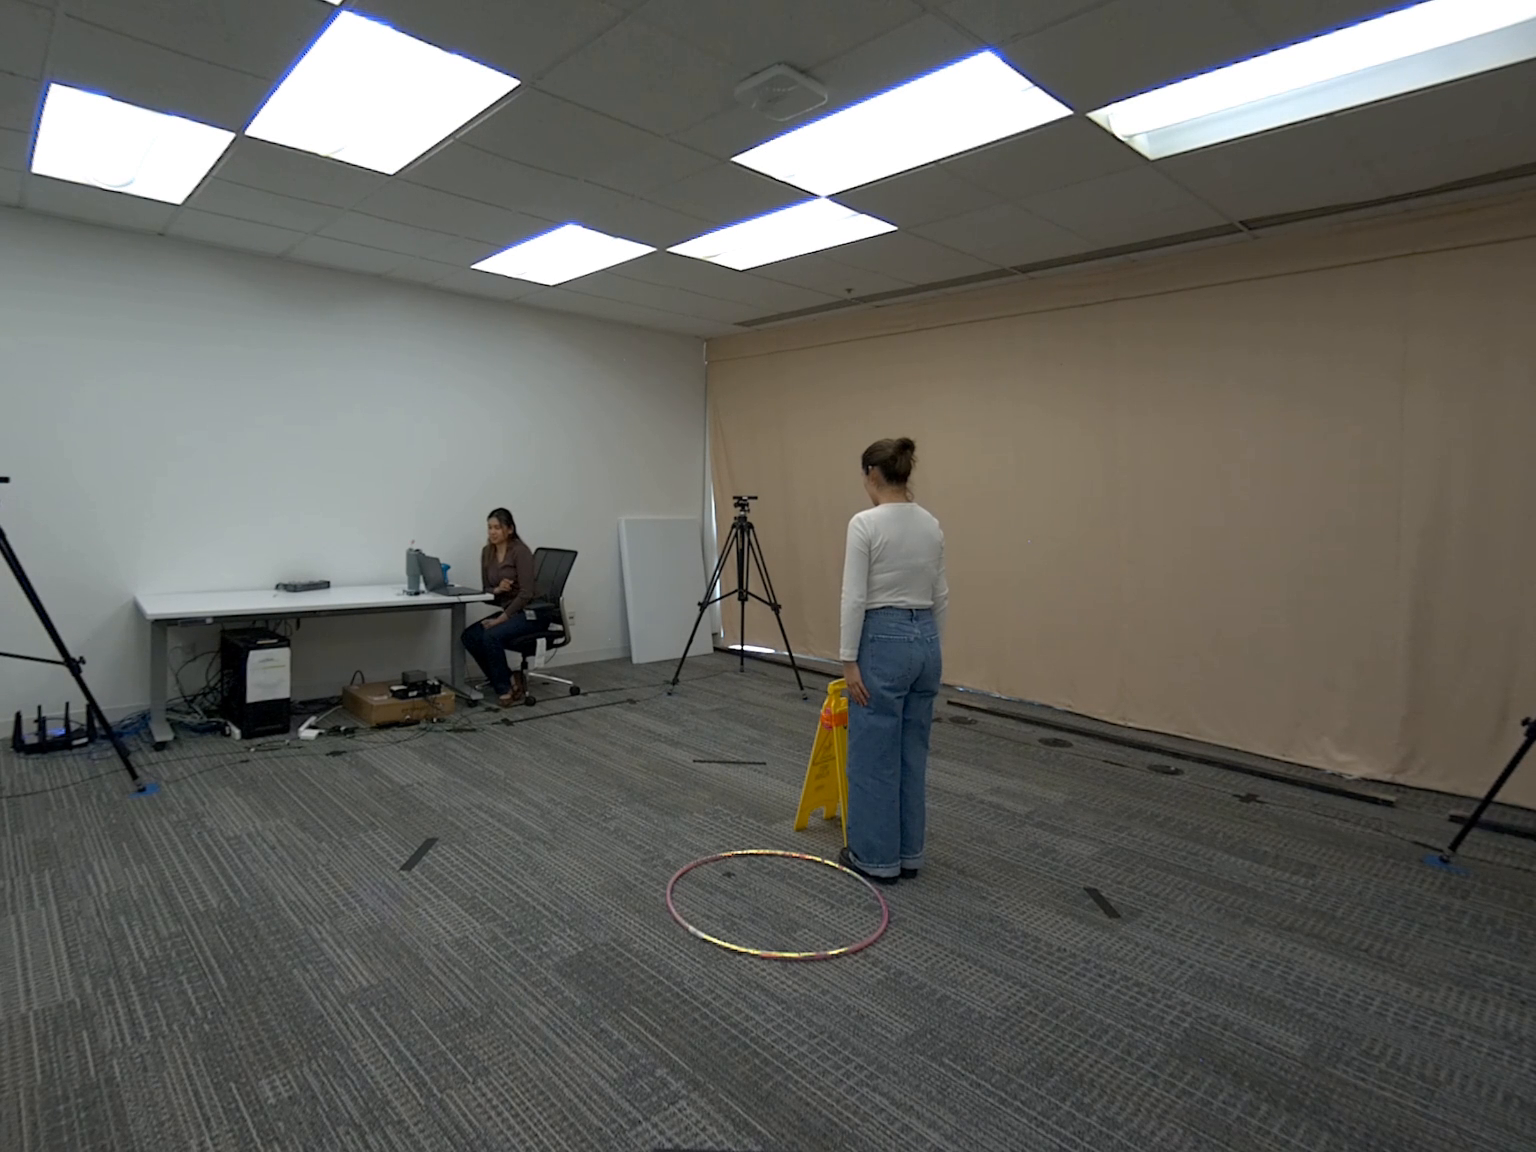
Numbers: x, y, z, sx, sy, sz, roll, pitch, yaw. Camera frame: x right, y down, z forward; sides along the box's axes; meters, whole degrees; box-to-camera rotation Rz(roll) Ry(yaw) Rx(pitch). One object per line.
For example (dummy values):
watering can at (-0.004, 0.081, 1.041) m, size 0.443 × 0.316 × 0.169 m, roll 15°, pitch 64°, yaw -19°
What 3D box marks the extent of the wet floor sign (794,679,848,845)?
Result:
wet floor sign at (0.301, 0.751, 3.516) m, size 0.297 × 0.645 × 0.275 m, roll 4°, pitch 3°, yaw 43°
